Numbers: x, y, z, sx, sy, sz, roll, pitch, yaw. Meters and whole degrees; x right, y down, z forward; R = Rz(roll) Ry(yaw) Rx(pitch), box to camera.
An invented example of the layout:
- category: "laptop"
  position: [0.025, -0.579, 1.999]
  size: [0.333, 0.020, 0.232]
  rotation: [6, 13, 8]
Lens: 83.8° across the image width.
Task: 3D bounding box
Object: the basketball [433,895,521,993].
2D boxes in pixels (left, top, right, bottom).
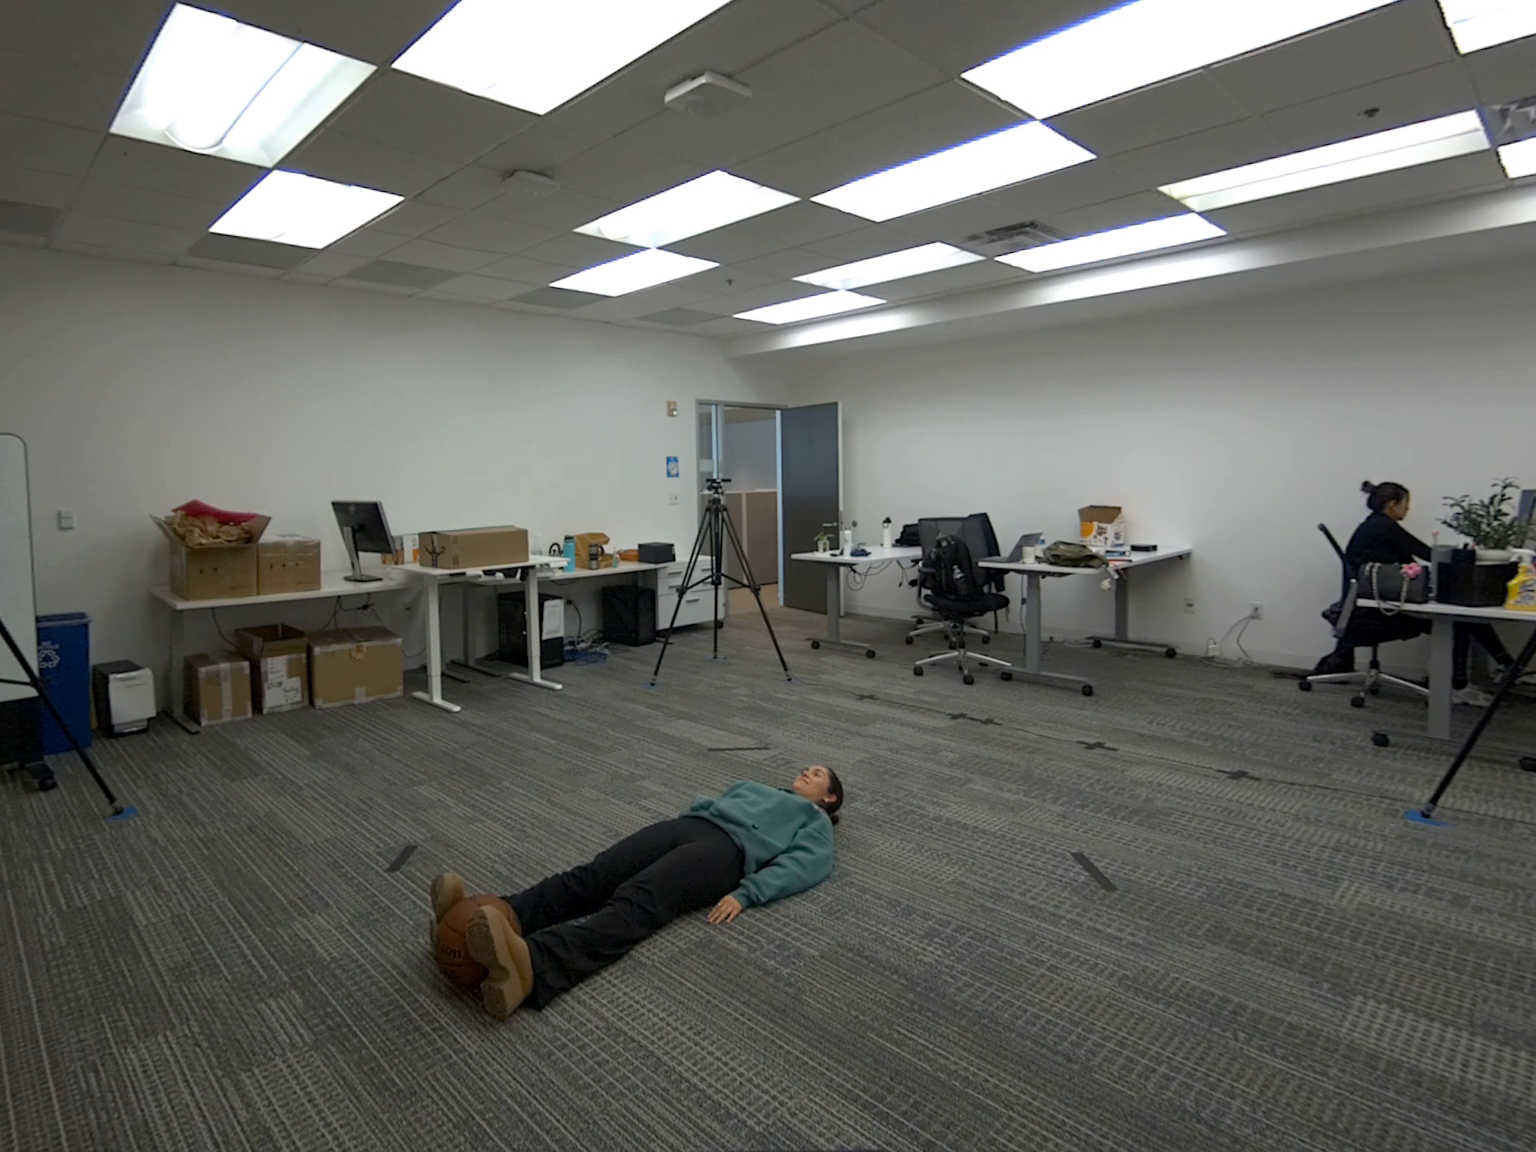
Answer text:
- category: "basketball"
  position: [-0.812, 1.031, 2.400]
  size: [0.236, 0.235, 0.237]
  rotation: [-1, 4, -2]
